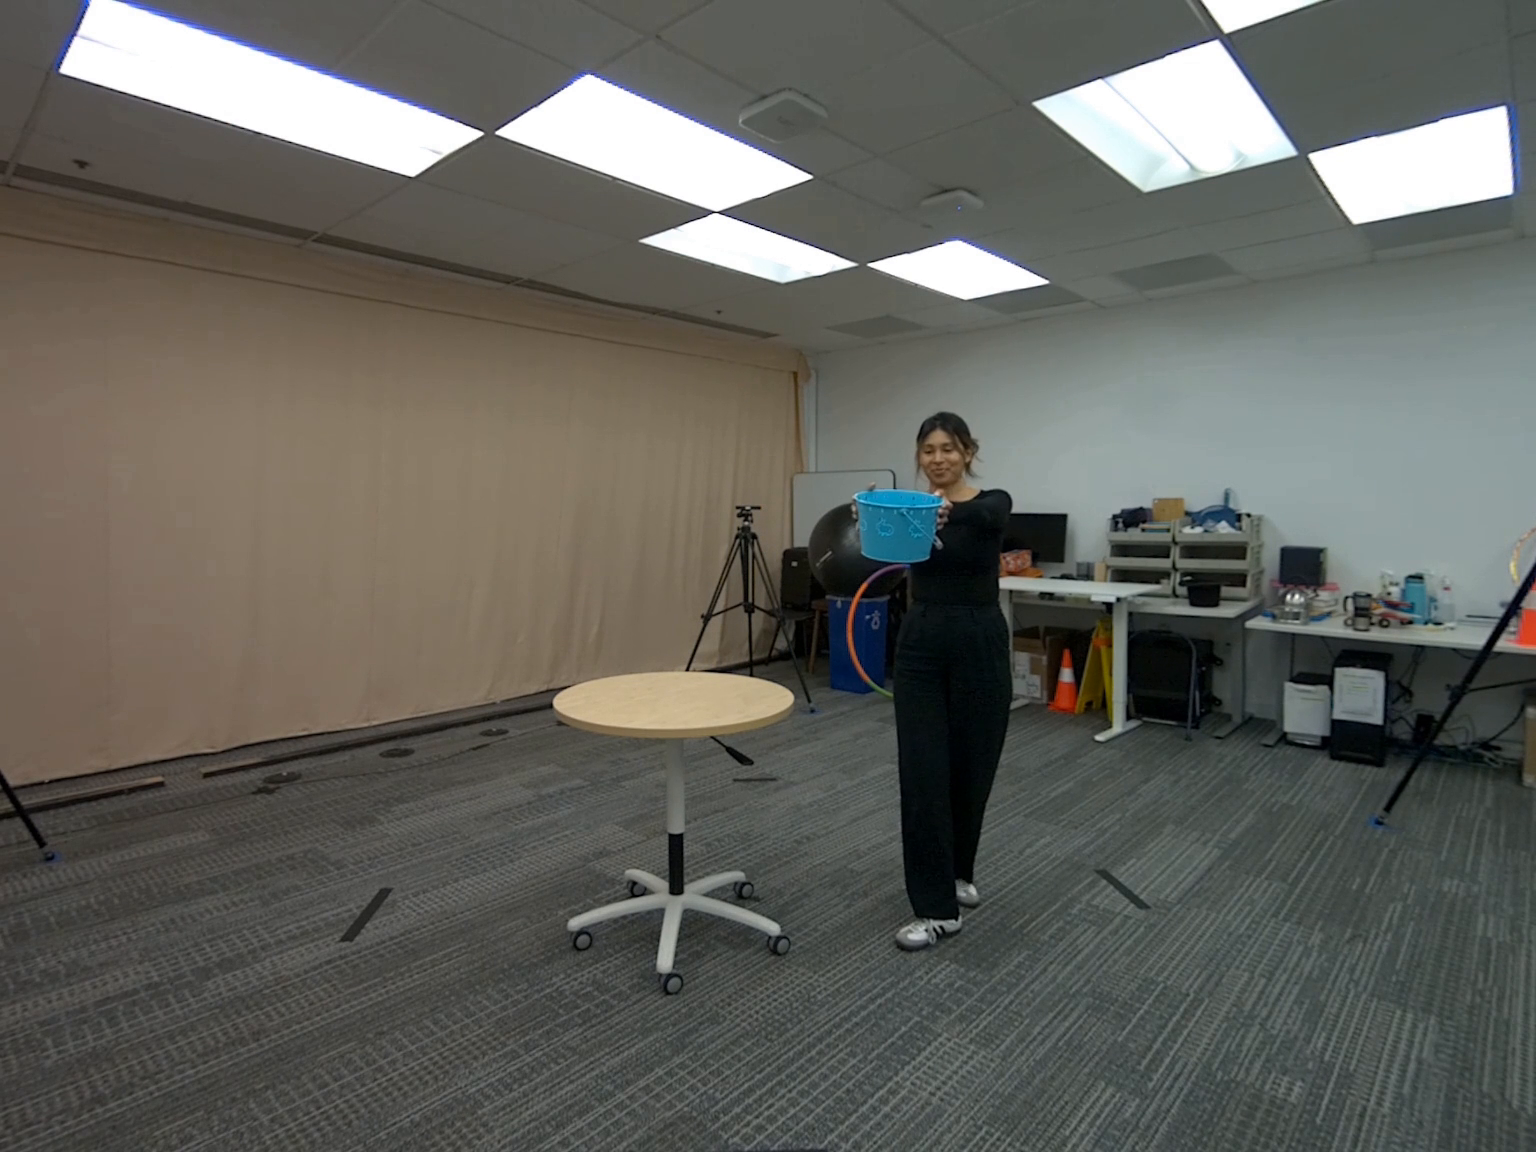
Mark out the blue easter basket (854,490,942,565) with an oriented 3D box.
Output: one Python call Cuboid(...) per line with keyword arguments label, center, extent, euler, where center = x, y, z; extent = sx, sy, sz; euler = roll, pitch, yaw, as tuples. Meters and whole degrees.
Cuboid(label="blue easter basket", center=(0.359, -0.133, 2.228), extent=(0.243, 0.155, 0.246), euler=(0, 13, -2))
